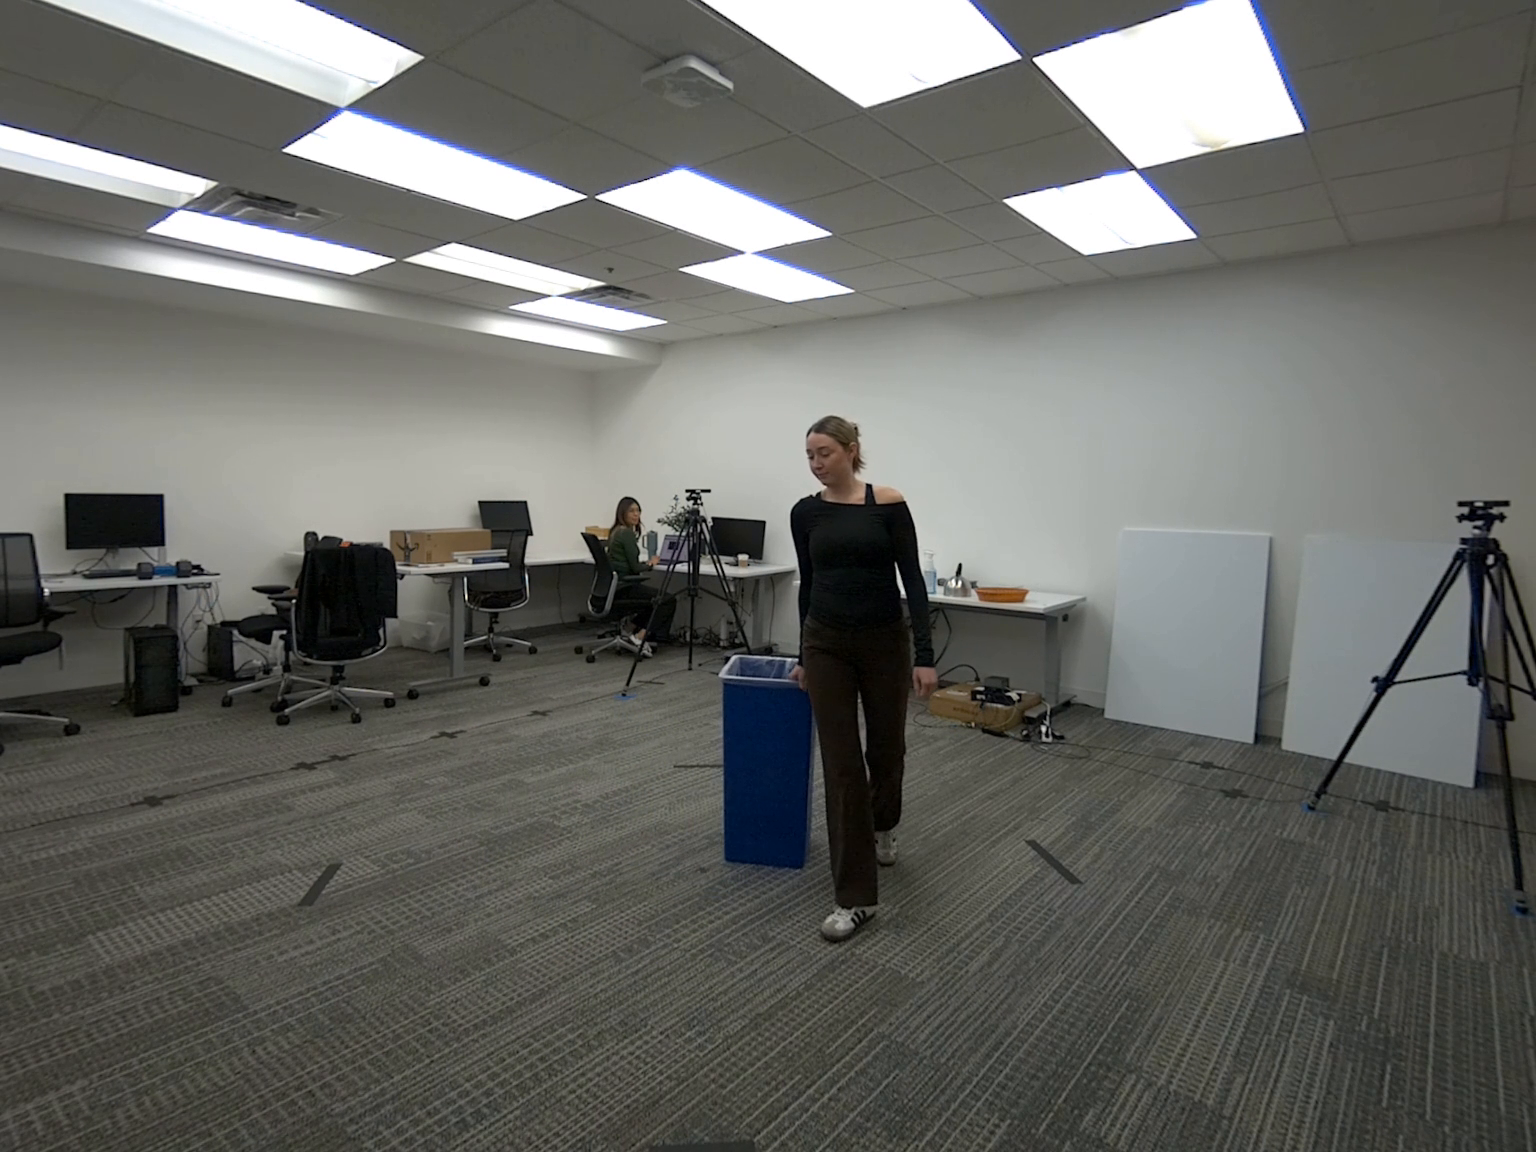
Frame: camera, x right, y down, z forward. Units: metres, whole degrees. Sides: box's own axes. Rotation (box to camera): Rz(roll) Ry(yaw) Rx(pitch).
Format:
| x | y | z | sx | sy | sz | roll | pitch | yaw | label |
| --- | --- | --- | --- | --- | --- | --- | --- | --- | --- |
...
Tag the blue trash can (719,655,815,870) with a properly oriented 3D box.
| x | y | z | sx | sy | sz | roll | pitch | yaw | label |
| --- | --- | --- | --- | --- | --- | --- | --- | --- | --- |
| -0.002 | 0.699 | 3.267 | 0.382 | 0.711 | 0.371 | 2 | 5 | 9 | blue trash can |
